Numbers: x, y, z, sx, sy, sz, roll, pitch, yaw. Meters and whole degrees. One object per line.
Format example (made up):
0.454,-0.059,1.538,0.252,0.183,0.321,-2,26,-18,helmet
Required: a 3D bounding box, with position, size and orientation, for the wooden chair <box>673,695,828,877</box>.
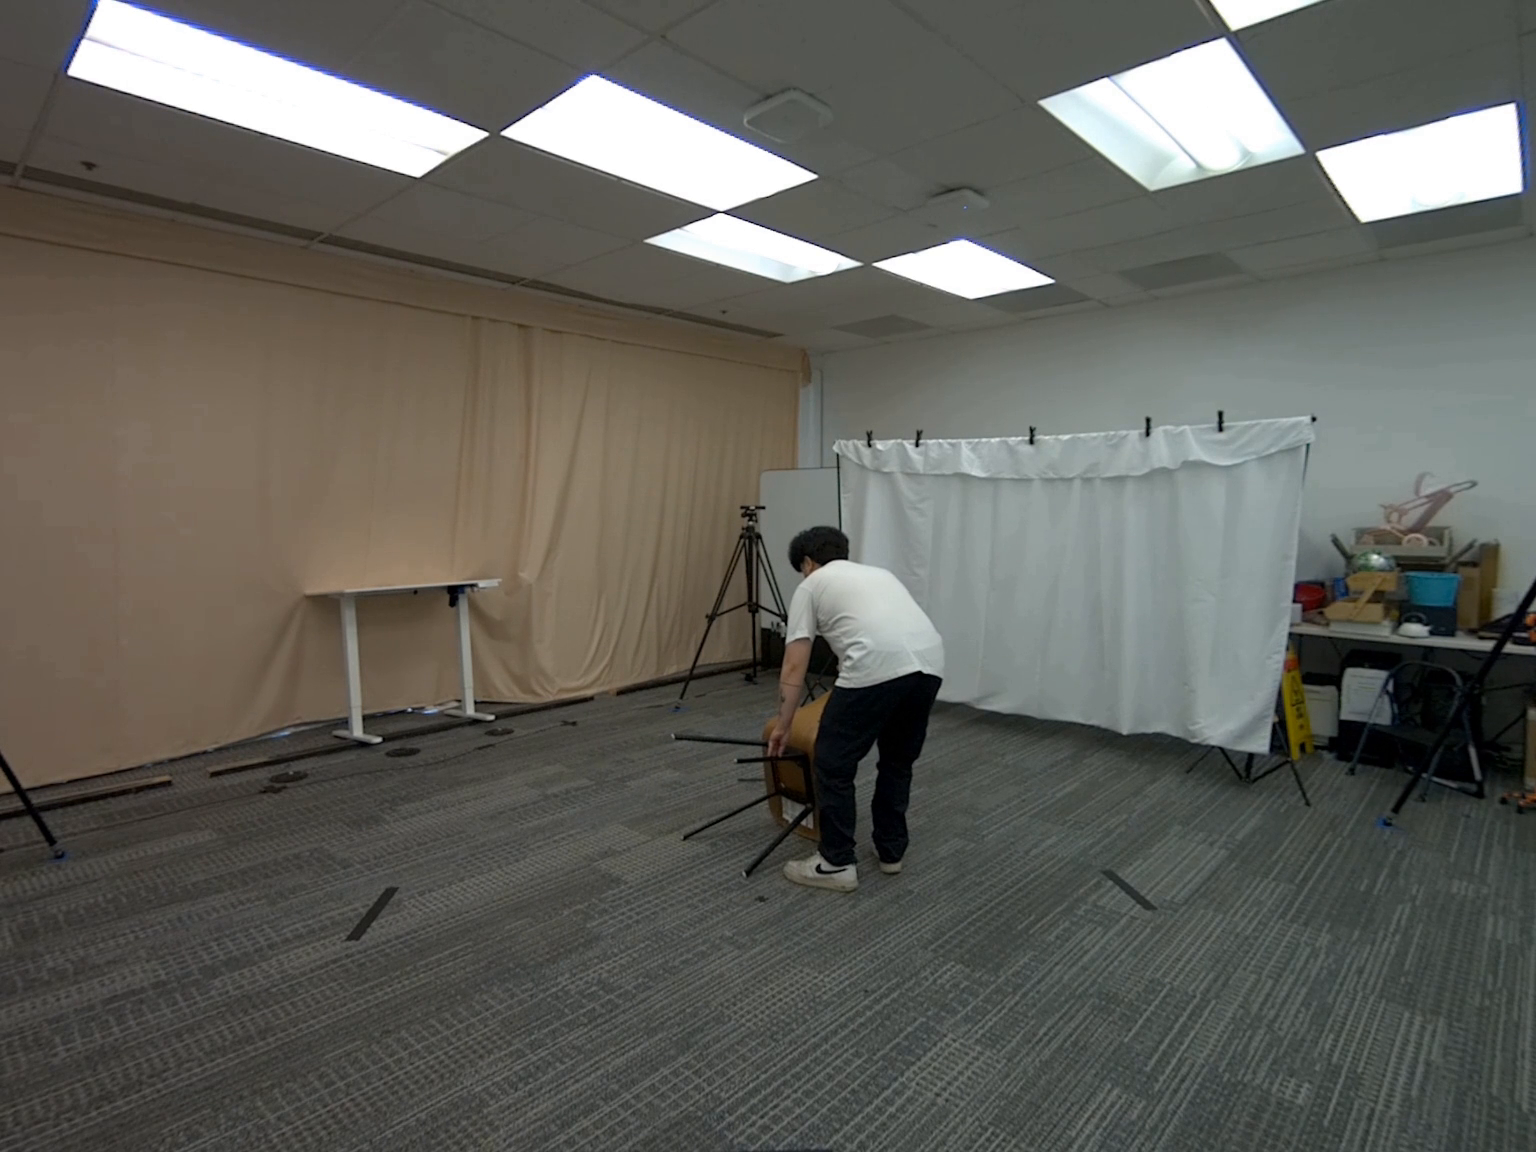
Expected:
0.094,0.839,3.557,0.855,0.520,0.493,-14,10,-36,wooden chair
